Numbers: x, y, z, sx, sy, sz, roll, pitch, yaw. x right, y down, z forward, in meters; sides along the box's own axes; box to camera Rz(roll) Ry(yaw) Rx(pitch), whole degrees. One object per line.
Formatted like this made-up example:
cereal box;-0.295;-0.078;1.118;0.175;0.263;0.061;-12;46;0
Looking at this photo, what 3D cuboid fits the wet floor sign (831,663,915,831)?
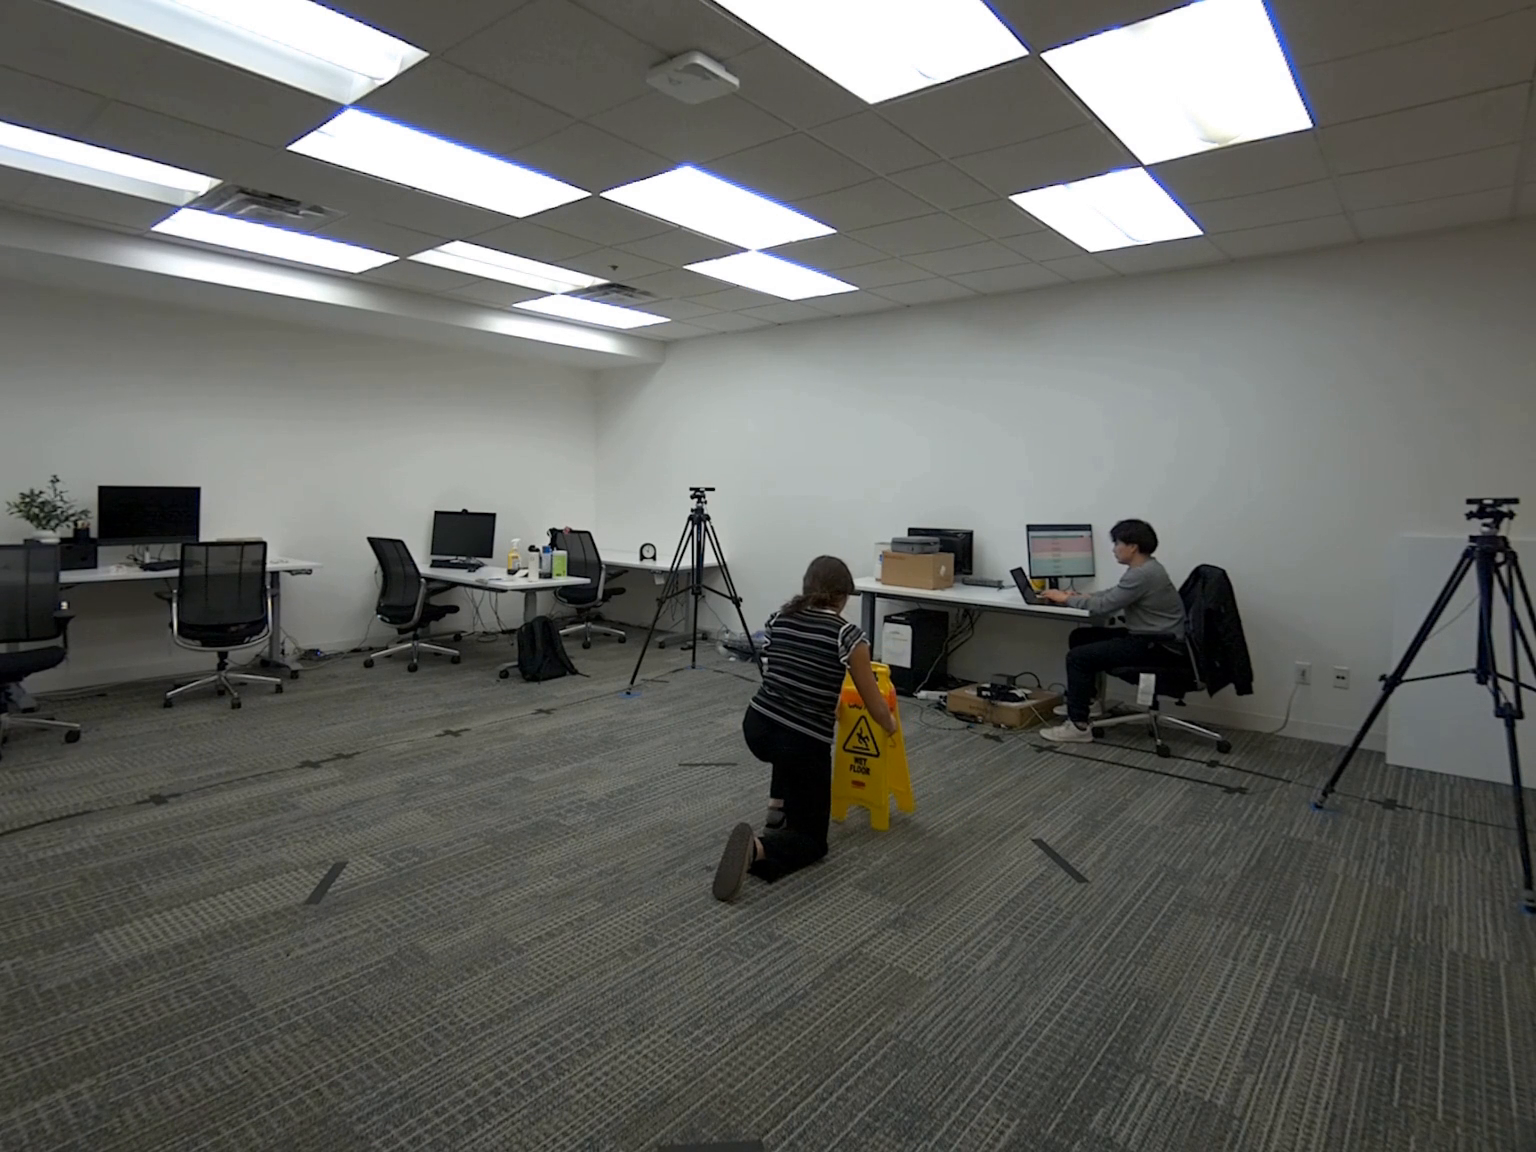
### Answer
wet floor sign;0.424;0.685;3.601;0.291;0.645;0.281;0;2;38
